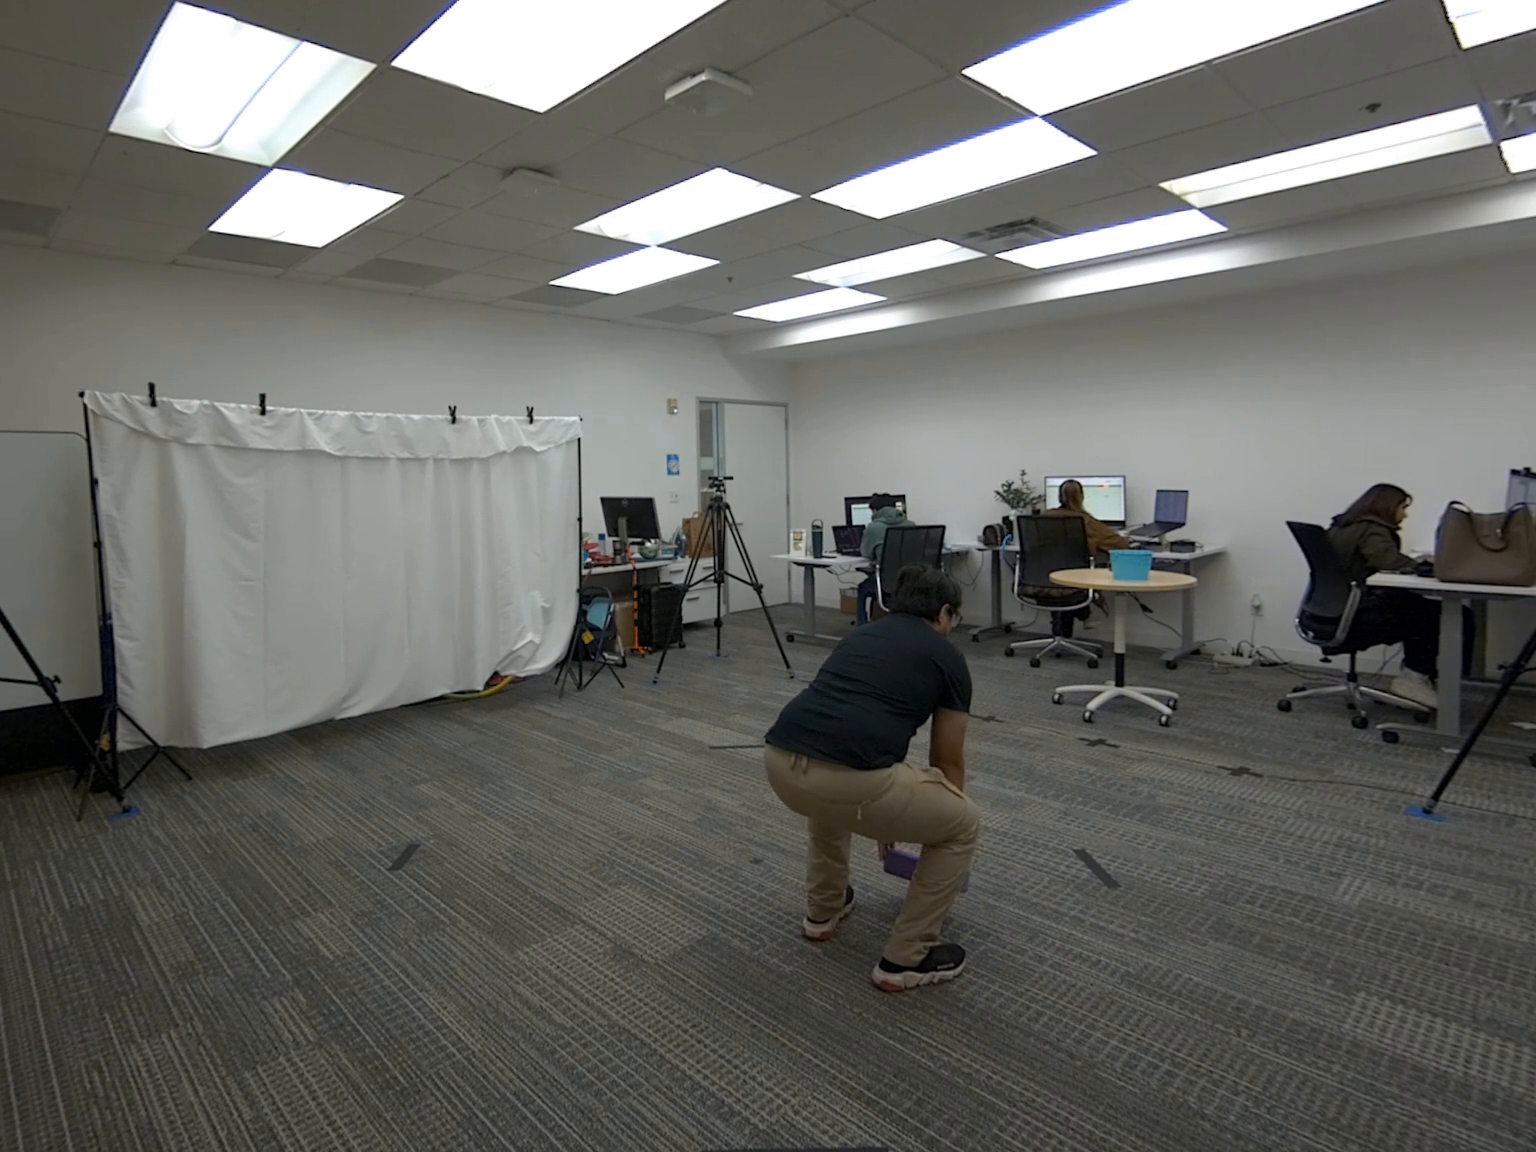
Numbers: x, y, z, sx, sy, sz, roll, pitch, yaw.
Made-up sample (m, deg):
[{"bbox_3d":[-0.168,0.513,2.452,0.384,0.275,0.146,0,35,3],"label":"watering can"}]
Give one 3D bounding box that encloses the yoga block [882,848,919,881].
[{"bbox_3d":[0.512,0.928,2.704,0.236,0.077,0.143,3,-15,37],"label":"yoga block"}]
